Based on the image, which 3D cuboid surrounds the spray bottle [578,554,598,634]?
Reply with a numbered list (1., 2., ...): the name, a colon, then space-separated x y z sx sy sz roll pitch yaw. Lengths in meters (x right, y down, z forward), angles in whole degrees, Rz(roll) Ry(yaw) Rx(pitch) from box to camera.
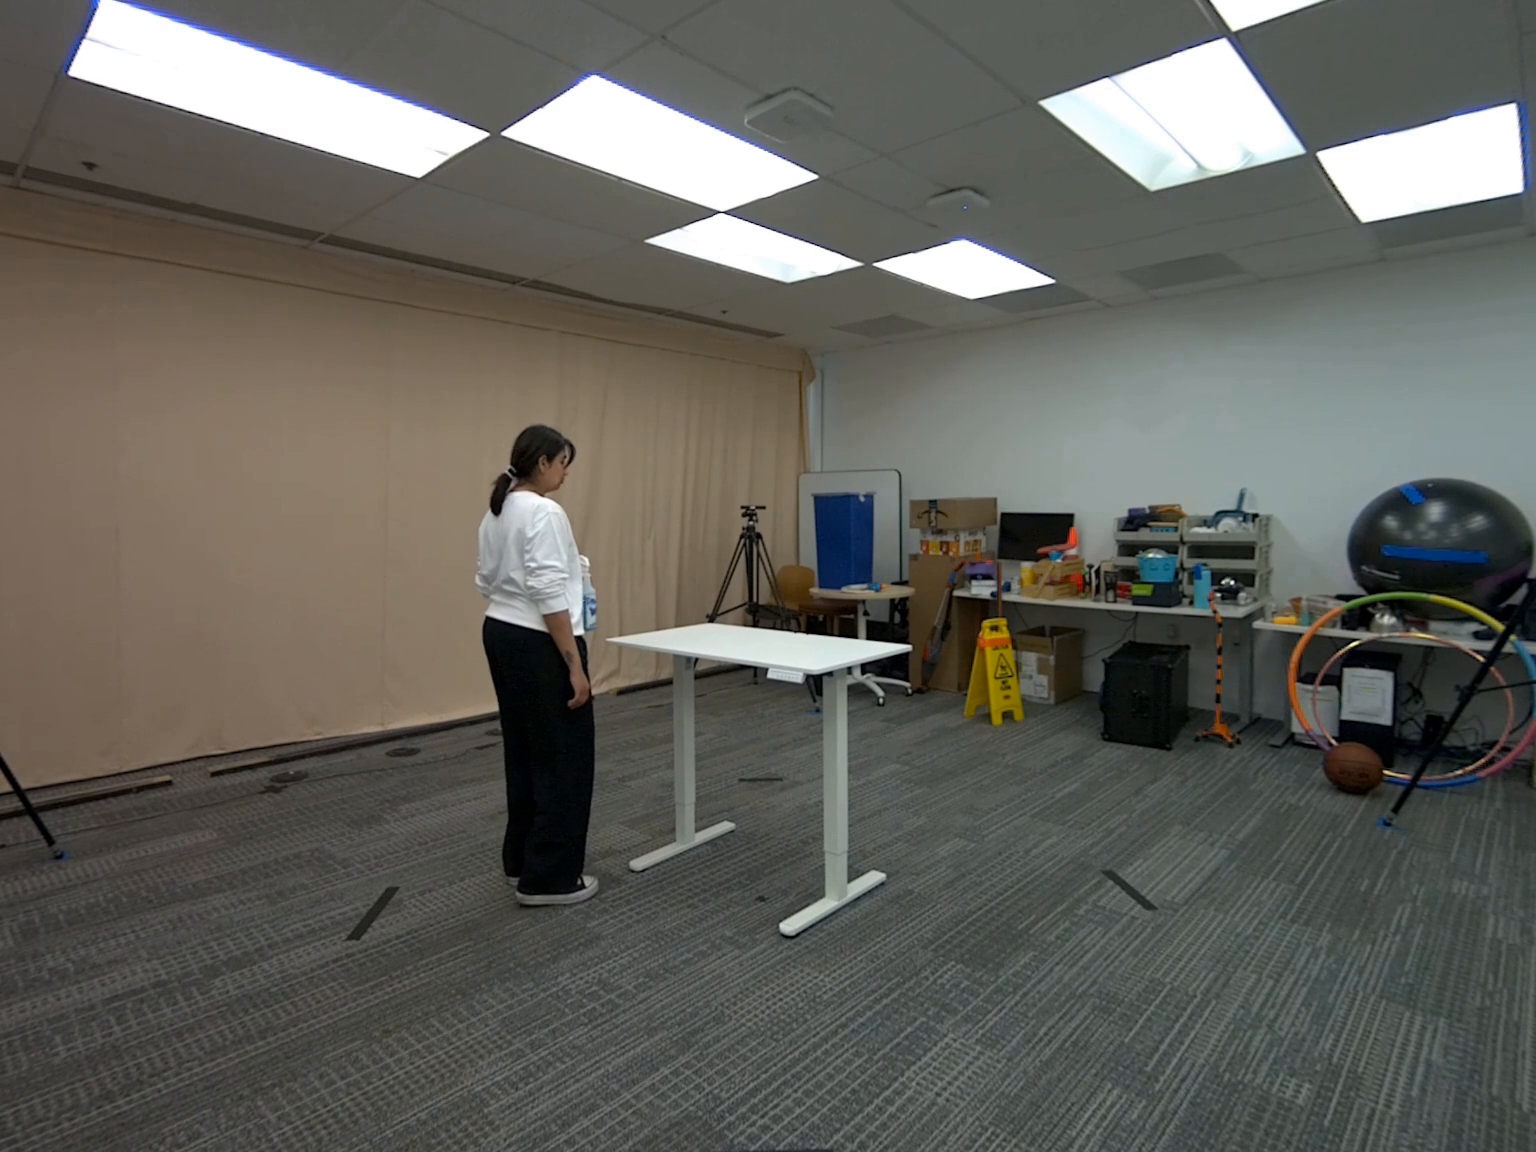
1. spray bottle: -0.734 0.068 3.375 0.086 0.295 0.091 -1 10 -11
